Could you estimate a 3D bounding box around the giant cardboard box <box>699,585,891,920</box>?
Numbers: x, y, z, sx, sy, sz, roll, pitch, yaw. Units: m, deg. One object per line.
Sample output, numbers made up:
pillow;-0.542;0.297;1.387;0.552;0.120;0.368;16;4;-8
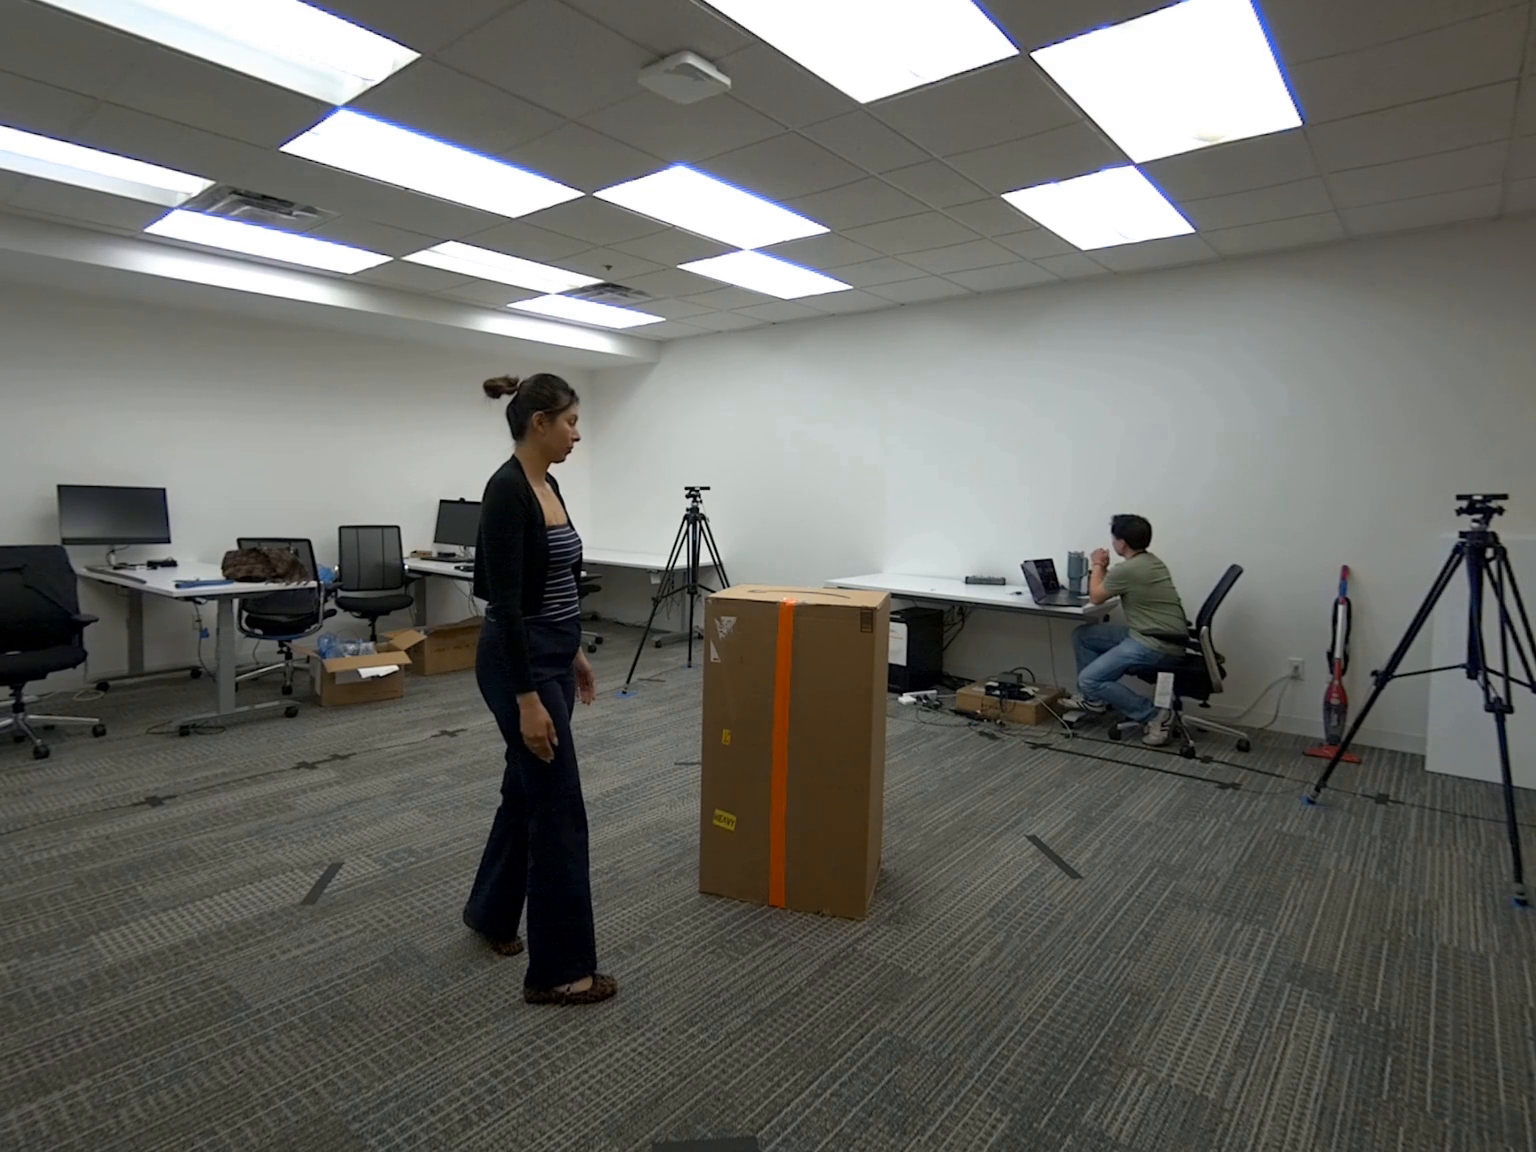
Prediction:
giant cardboard box;0.095;0.572;2.994;0.589;1.022;0.419;2;4;18
